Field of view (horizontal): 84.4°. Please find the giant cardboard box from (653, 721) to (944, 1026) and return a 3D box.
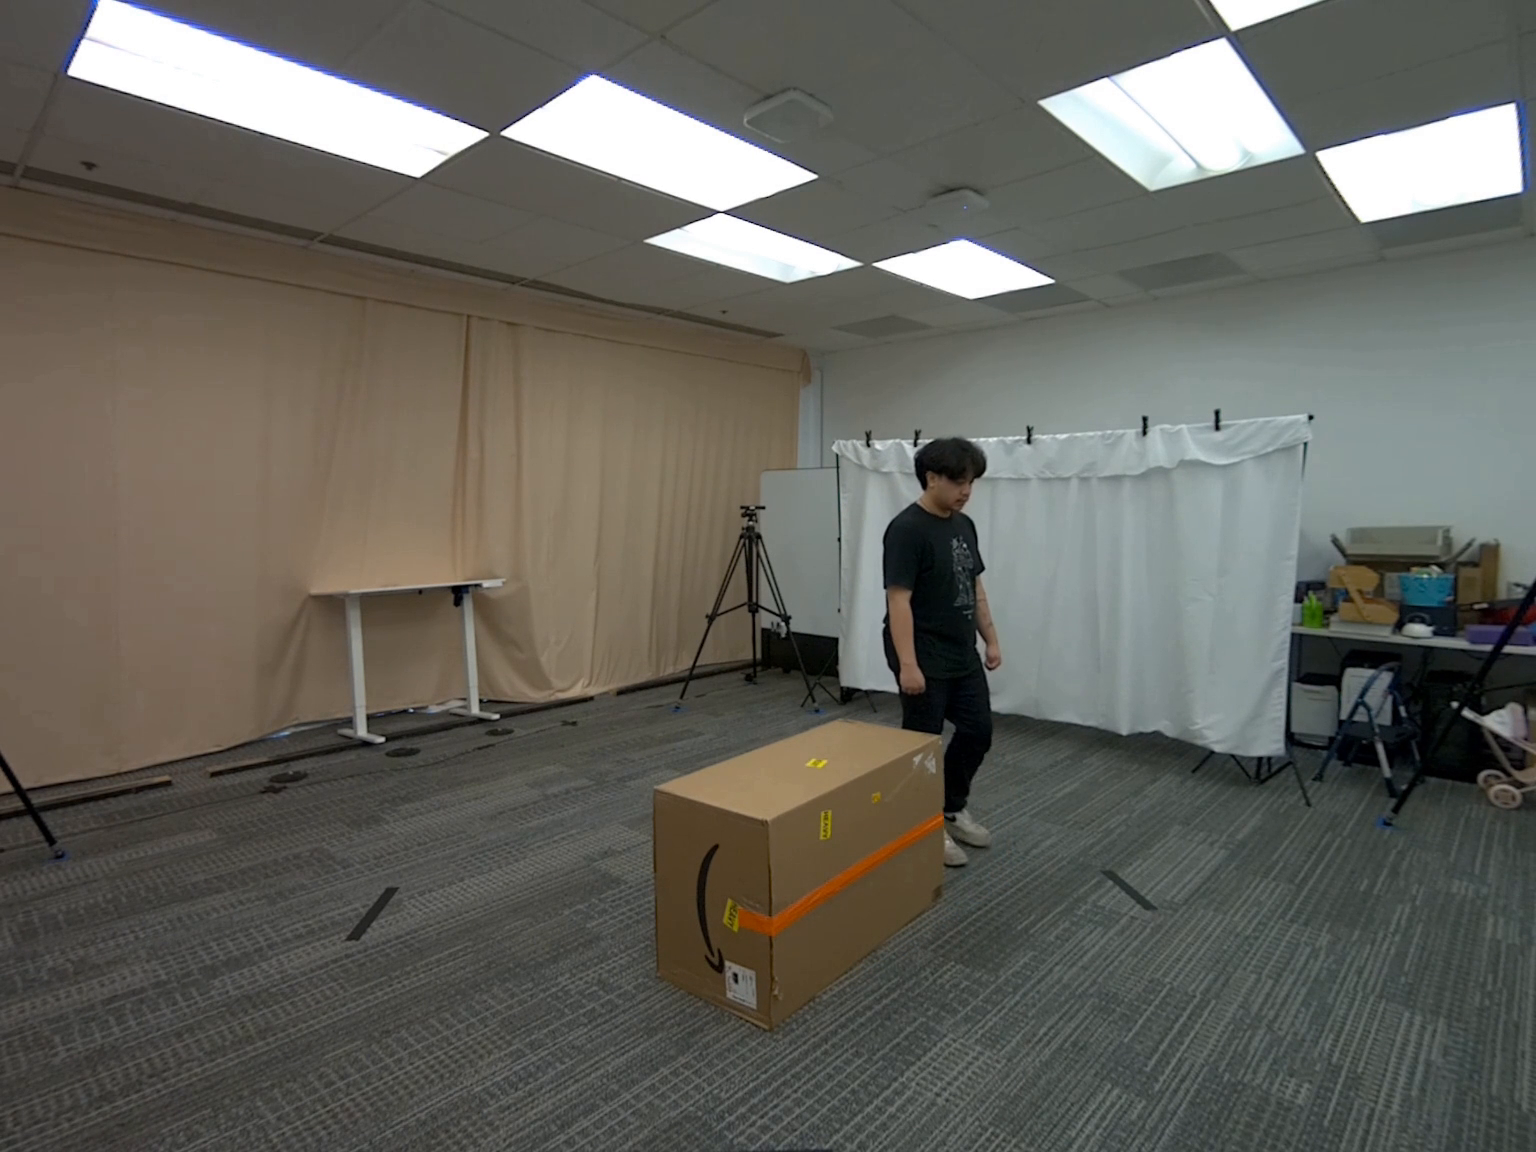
[{"bbox_3d":[0.145,0.880,2.723,0.461,0.582,0.997,3,6,38],"label":"giant cardboard box"}]
